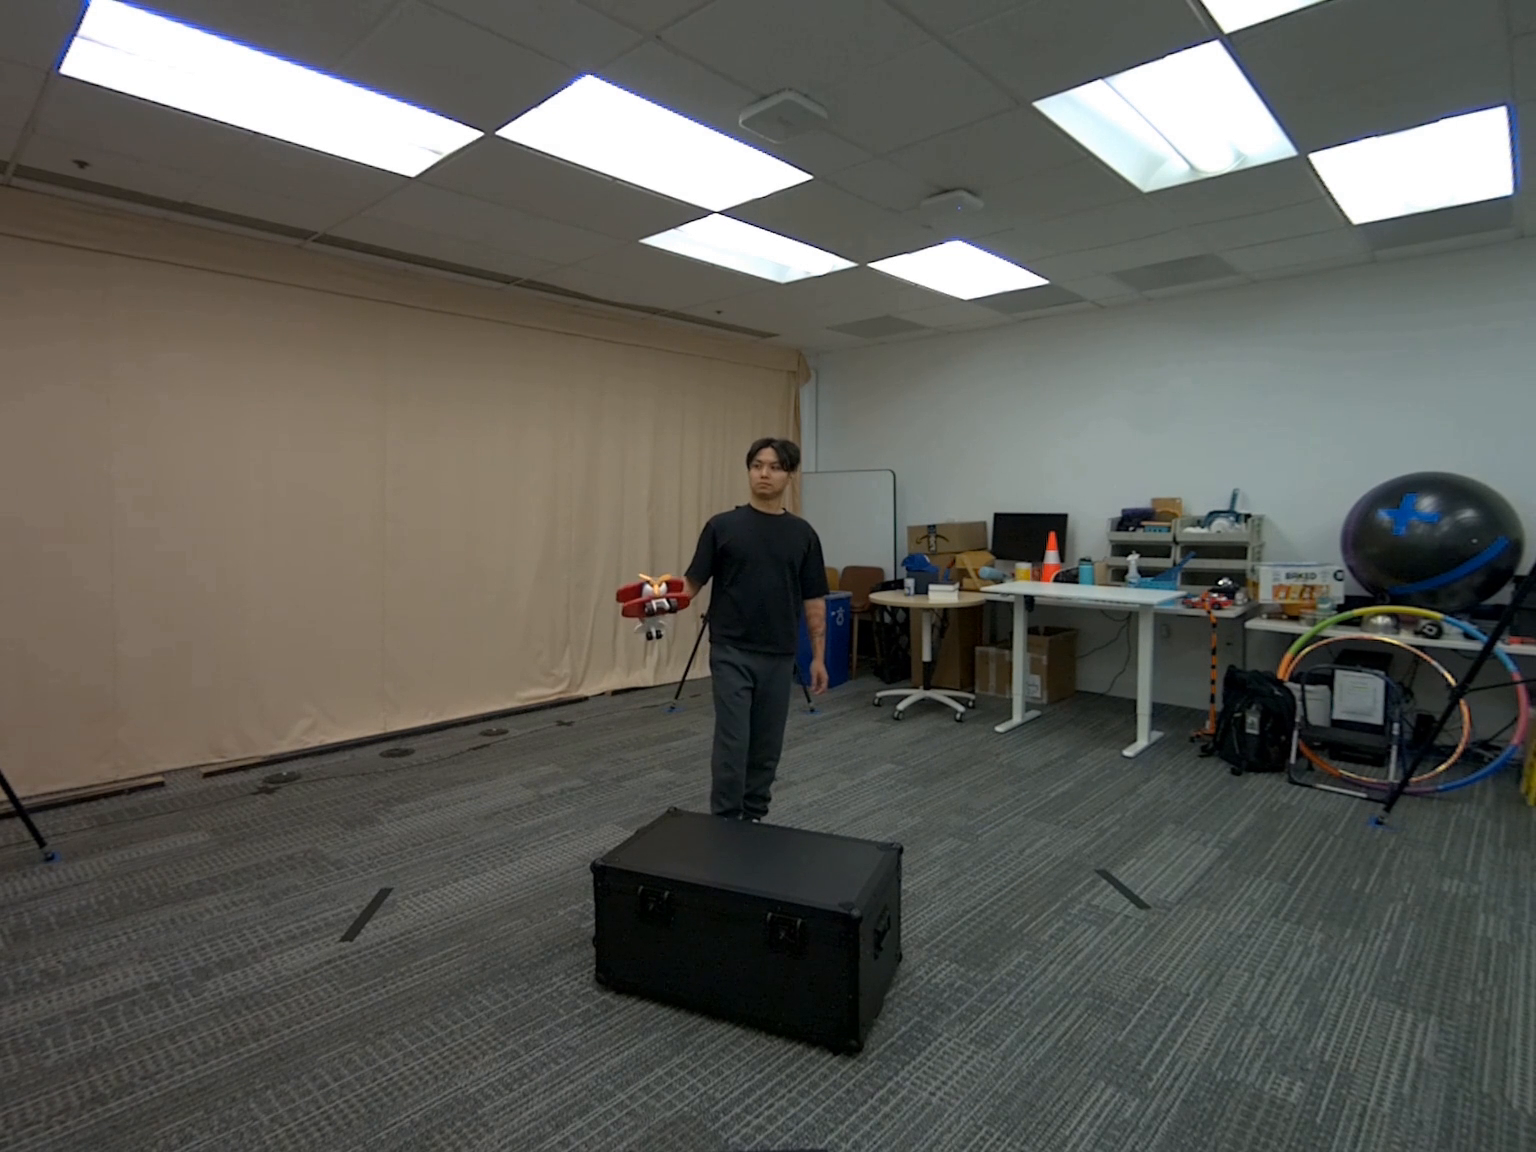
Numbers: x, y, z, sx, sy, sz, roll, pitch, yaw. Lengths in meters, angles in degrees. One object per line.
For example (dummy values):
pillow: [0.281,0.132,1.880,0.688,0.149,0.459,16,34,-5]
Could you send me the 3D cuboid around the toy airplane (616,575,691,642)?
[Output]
toy airplane: [-0.431,0.112,3.025,0.242,0.160,0.262,14,-43,-43]
